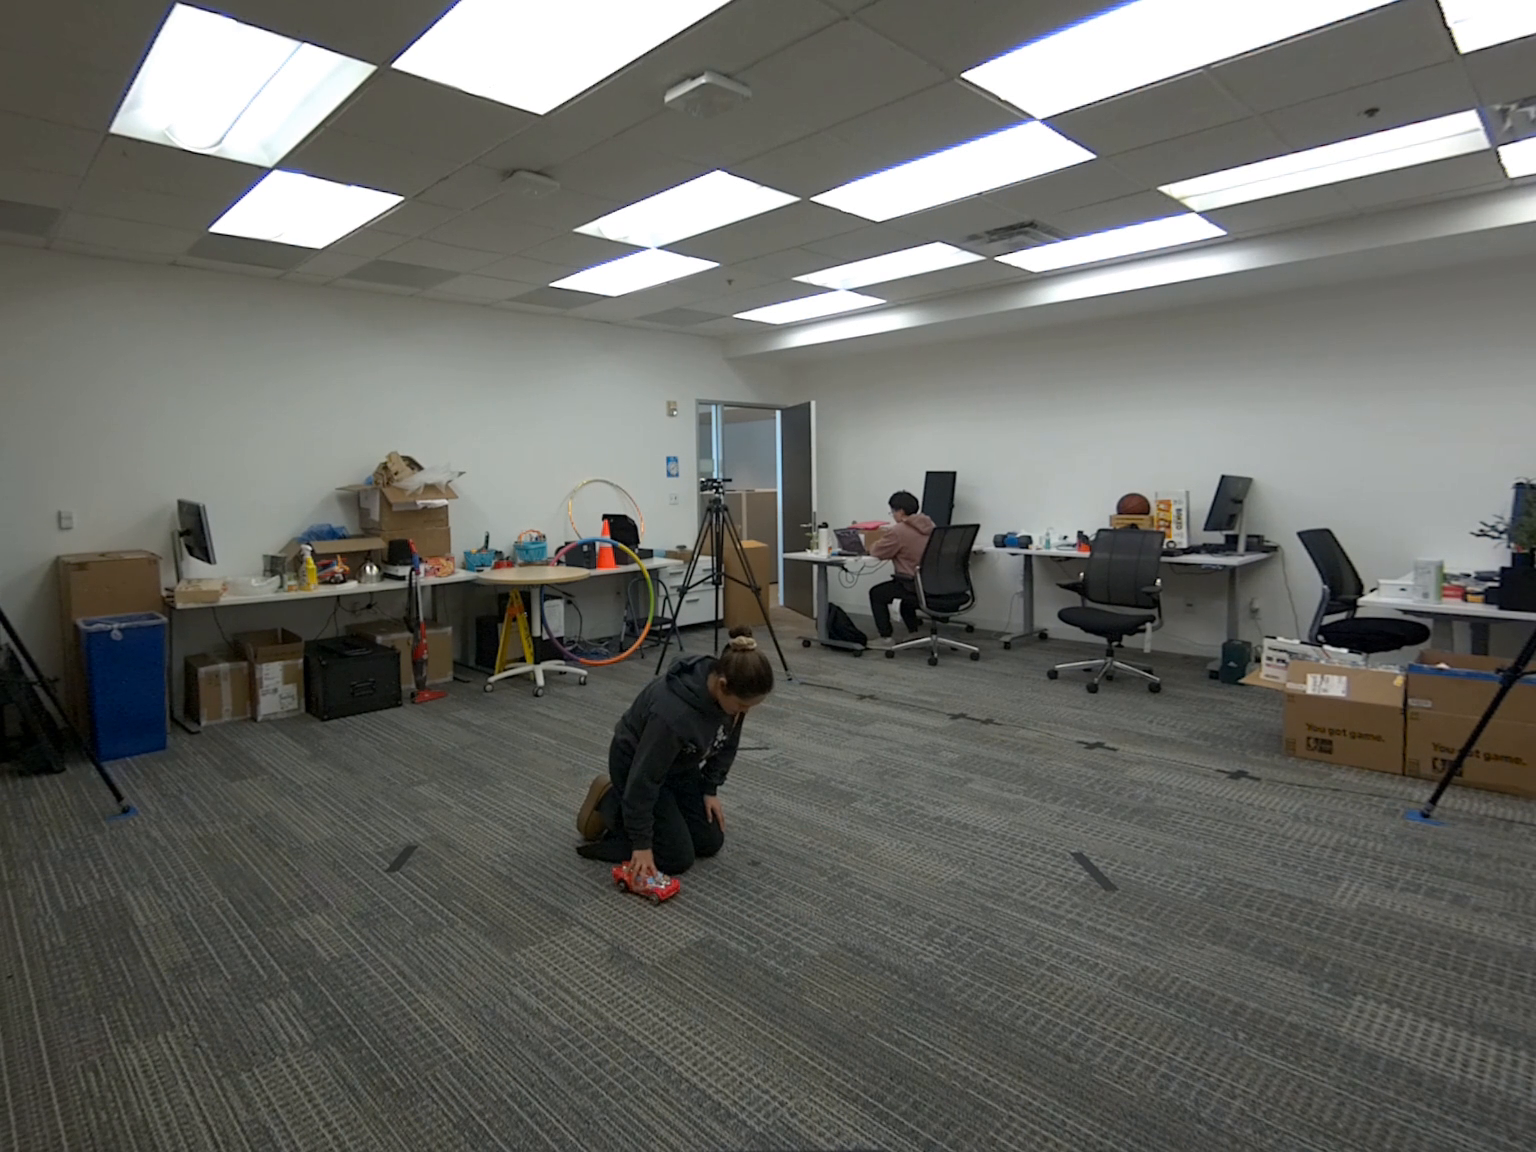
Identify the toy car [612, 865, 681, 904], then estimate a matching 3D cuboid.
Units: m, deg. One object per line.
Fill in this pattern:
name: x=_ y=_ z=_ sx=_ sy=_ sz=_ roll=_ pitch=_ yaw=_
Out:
toy car: x=-0.422 y=1.046 z=2.904 sx=0.263 sy=0.082 sz=0.127 roll=17 pitch=15 yaw=35
